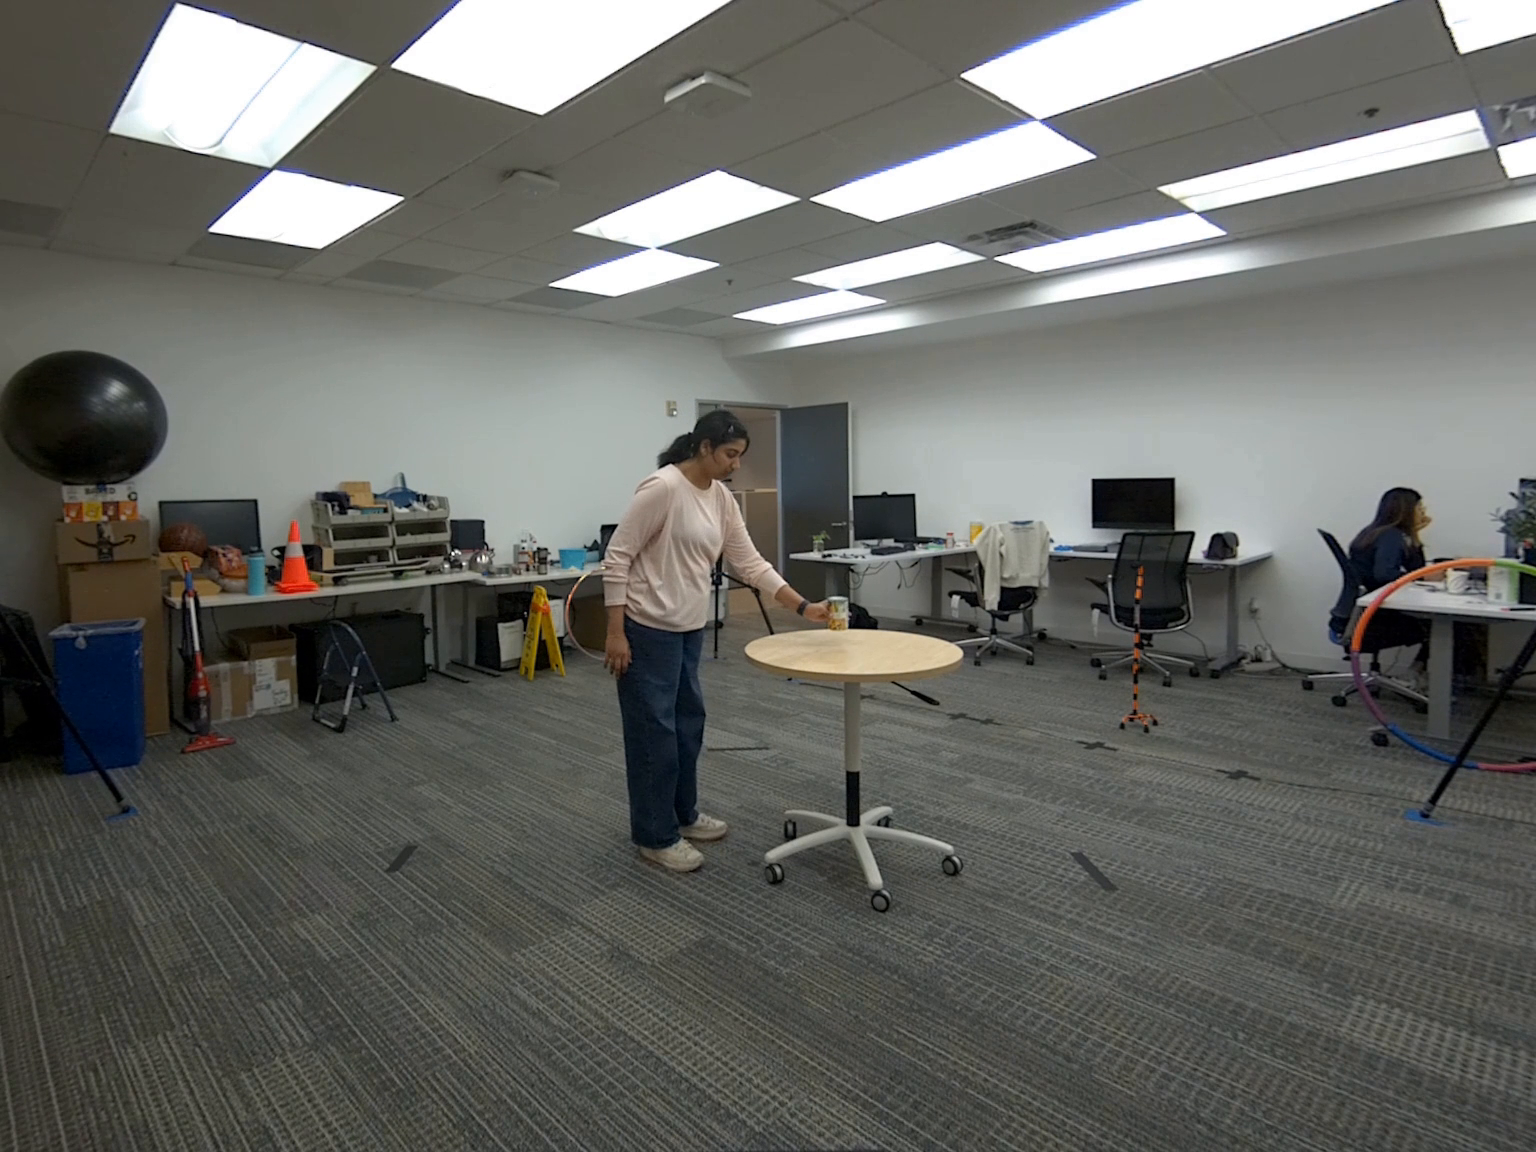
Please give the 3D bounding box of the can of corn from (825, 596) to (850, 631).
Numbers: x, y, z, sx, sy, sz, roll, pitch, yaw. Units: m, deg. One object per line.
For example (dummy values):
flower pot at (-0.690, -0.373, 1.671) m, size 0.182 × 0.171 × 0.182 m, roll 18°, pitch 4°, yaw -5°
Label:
can of corn at (0.242, 0.138, 3.124) m, size 0.074 × 0.110 × 0.075 m, roll -4°, pitch 9°, yaw -1°
